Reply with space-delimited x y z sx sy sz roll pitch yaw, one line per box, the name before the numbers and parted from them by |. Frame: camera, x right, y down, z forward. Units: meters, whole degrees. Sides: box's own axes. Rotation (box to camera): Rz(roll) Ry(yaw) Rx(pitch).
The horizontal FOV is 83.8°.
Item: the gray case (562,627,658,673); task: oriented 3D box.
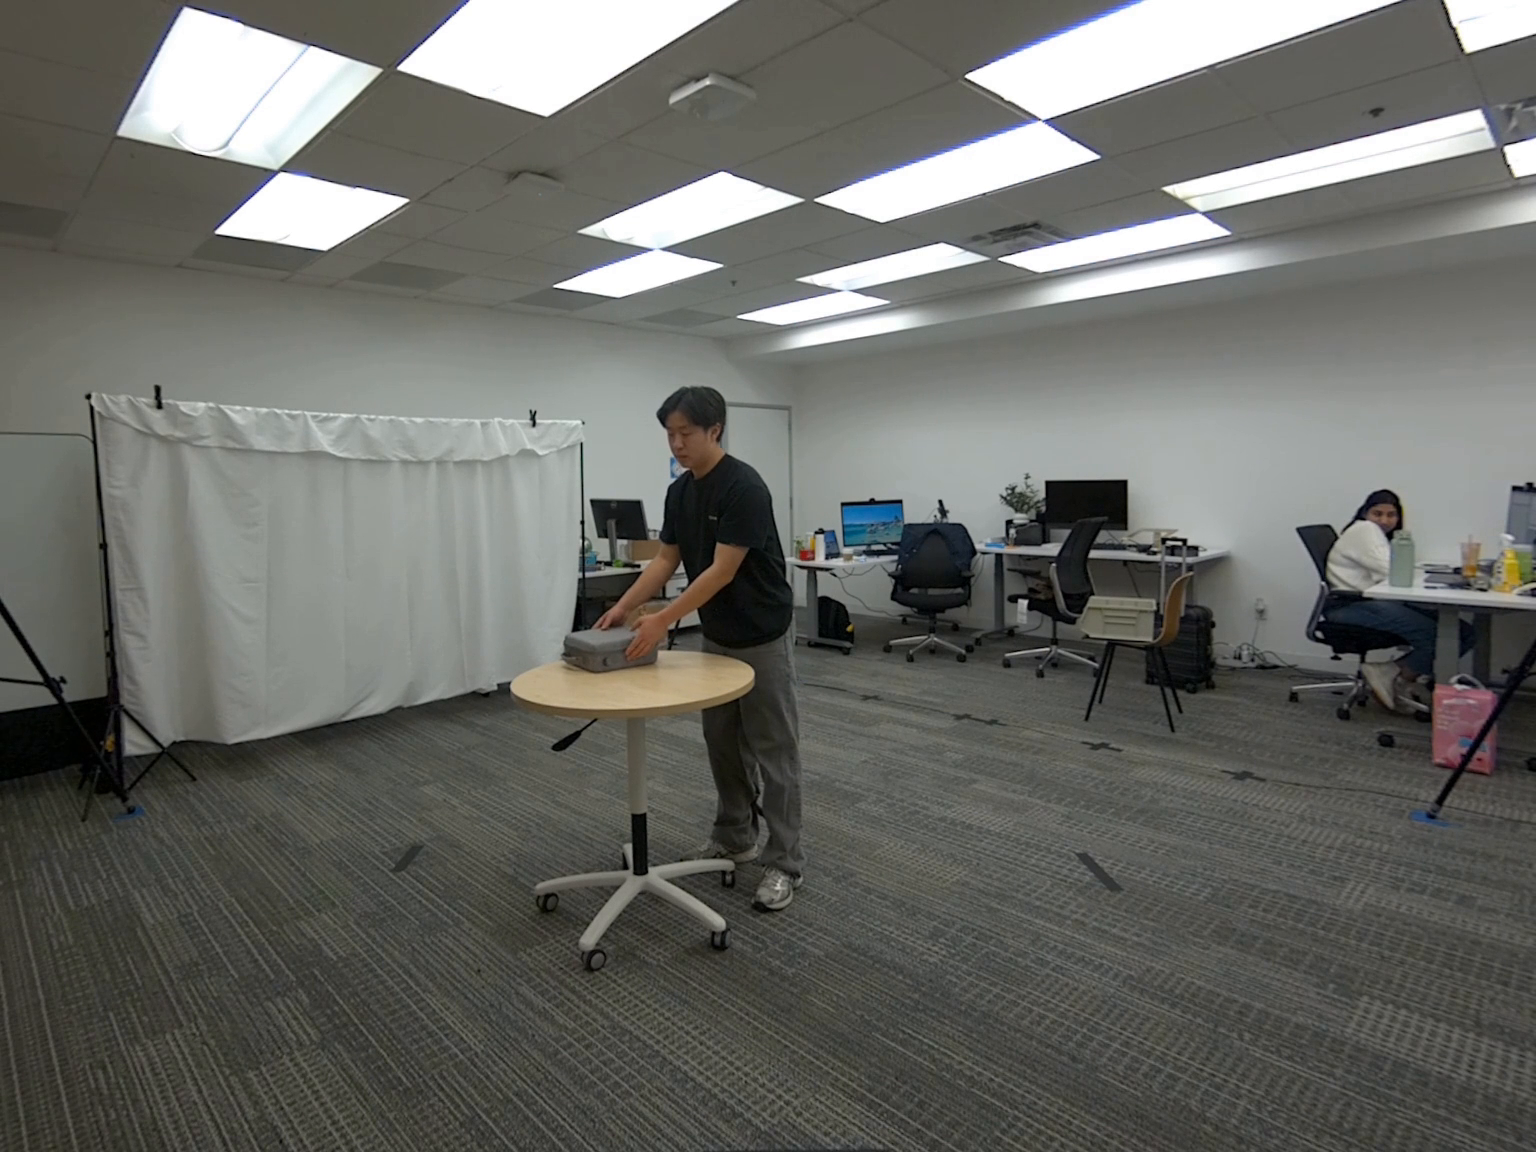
gray case | -0.544 0.249 2.897 0.280 0.102 0.271 -7 9 -36
